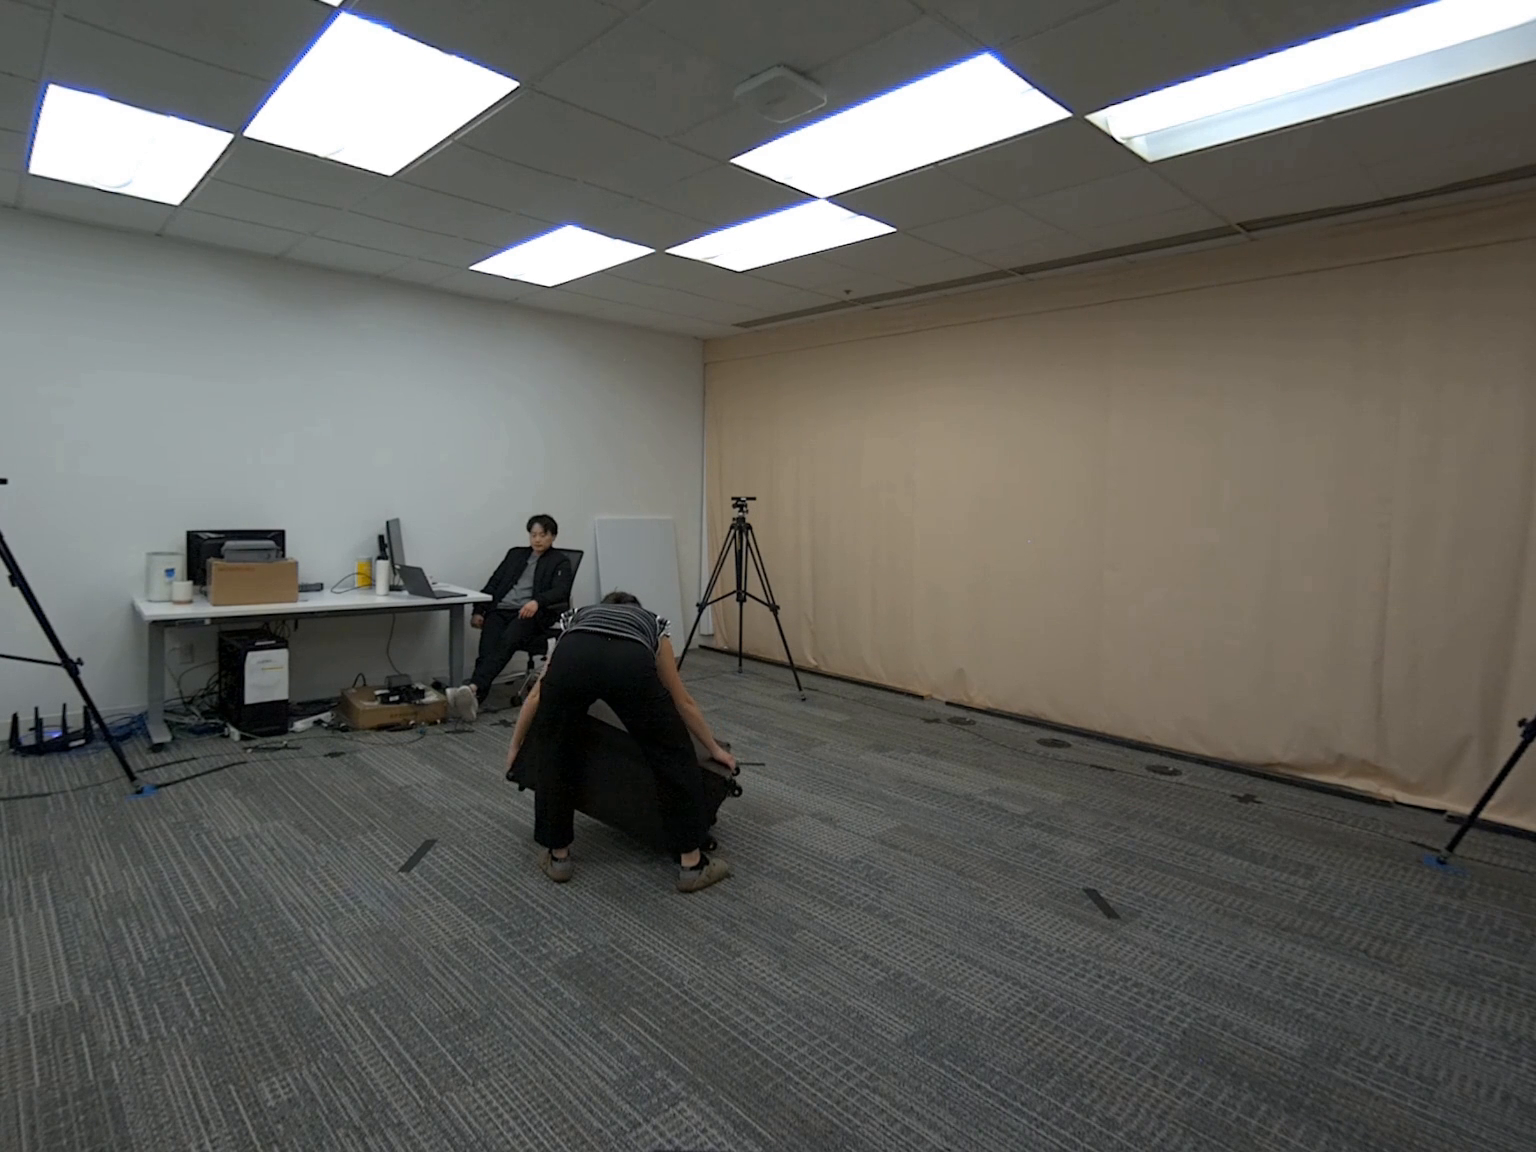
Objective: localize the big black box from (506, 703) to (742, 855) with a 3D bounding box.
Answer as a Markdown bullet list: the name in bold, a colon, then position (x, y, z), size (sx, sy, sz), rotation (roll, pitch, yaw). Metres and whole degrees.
- **big black box**: position (-0.559, 0.769, 3.421), size (0.860, 0.396, 0.522), rotation (24, 3, -2)
